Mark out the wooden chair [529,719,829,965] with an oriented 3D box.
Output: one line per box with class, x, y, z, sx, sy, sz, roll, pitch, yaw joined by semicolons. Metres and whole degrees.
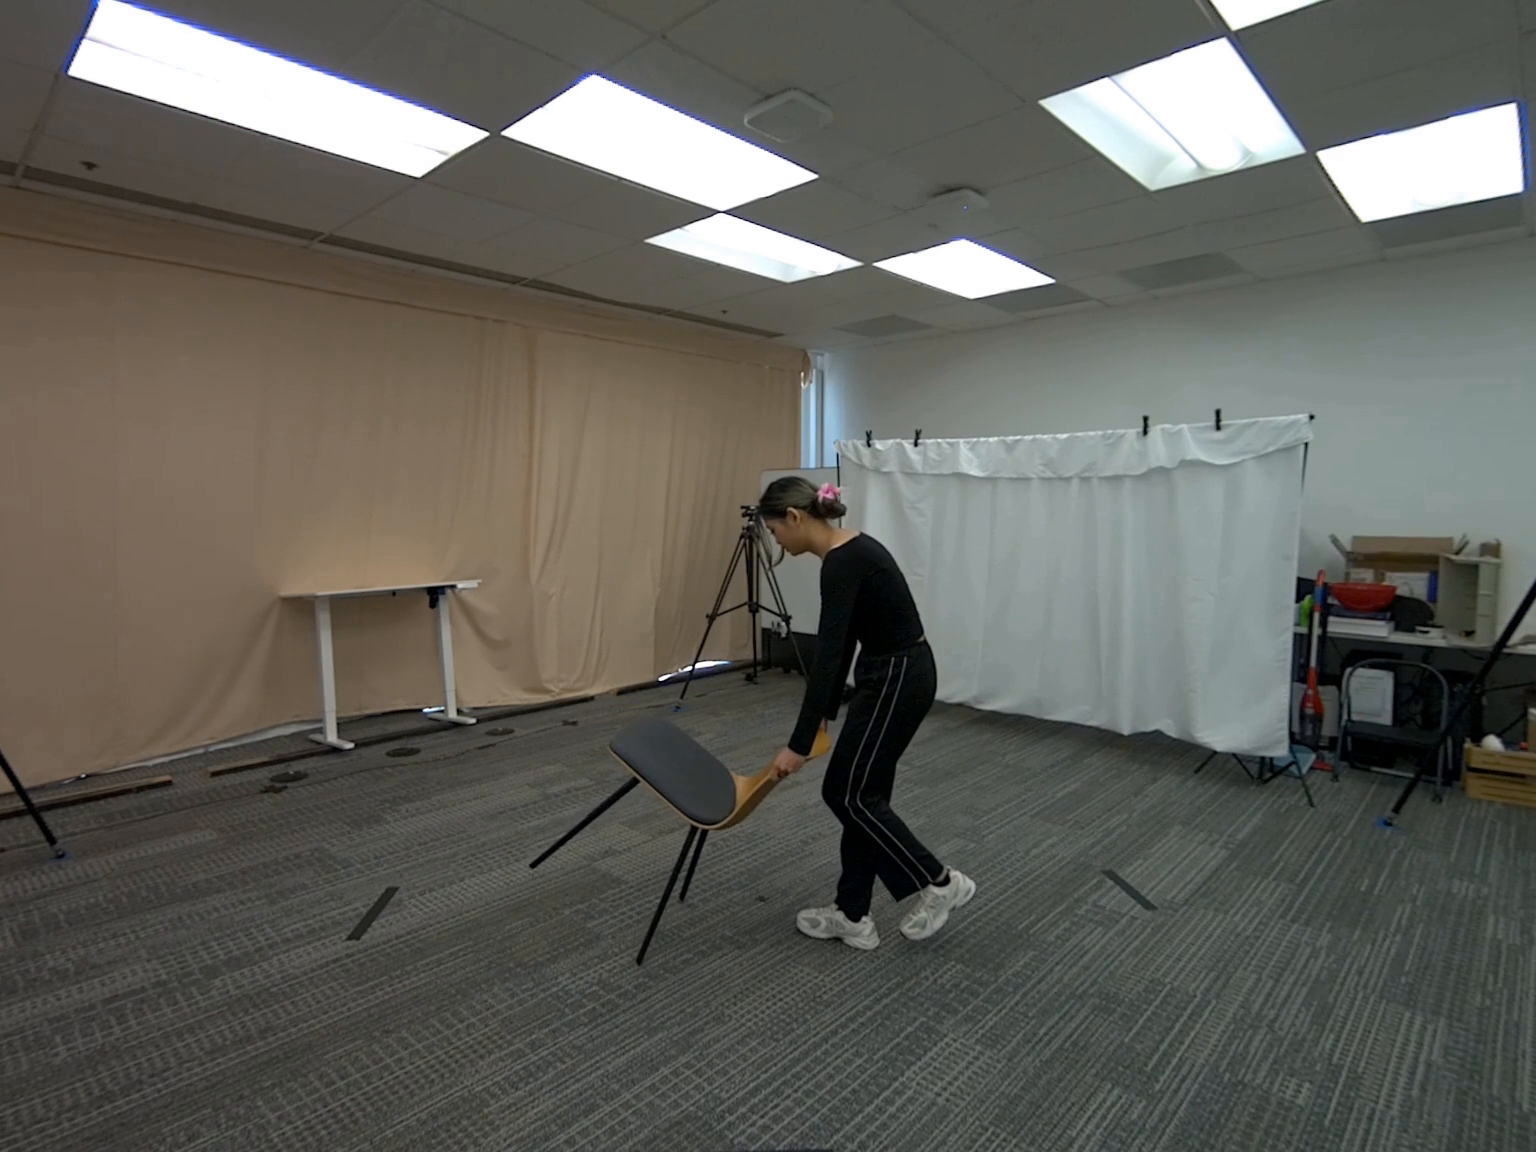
wooden chair;-0.281;0.686;2.719;0.530;0.879;0.471;43;13;9
